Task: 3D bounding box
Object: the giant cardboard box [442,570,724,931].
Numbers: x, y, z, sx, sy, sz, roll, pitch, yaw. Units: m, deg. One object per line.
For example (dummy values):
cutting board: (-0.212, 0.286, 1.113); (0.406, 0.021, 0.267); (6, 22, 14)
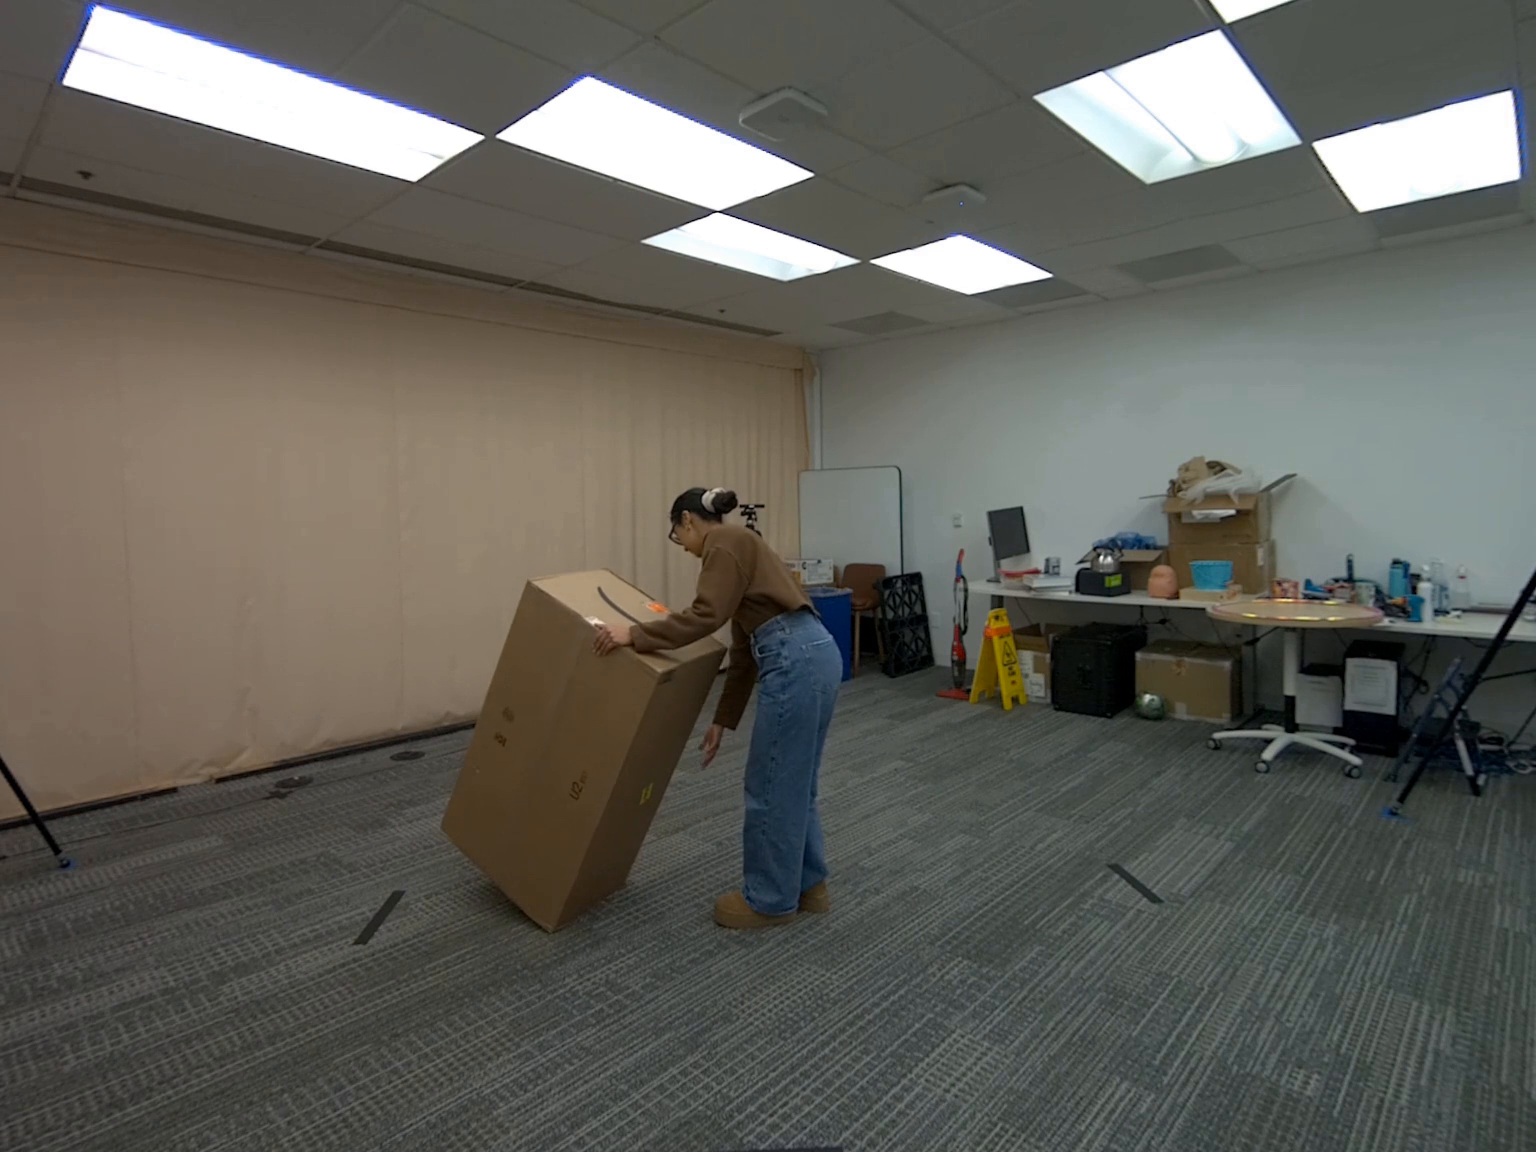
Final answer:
giant cardboard box: (-0.649, 0.577, 2.922); (0.594, 1.023, 0.415); (31, 18, 24)
